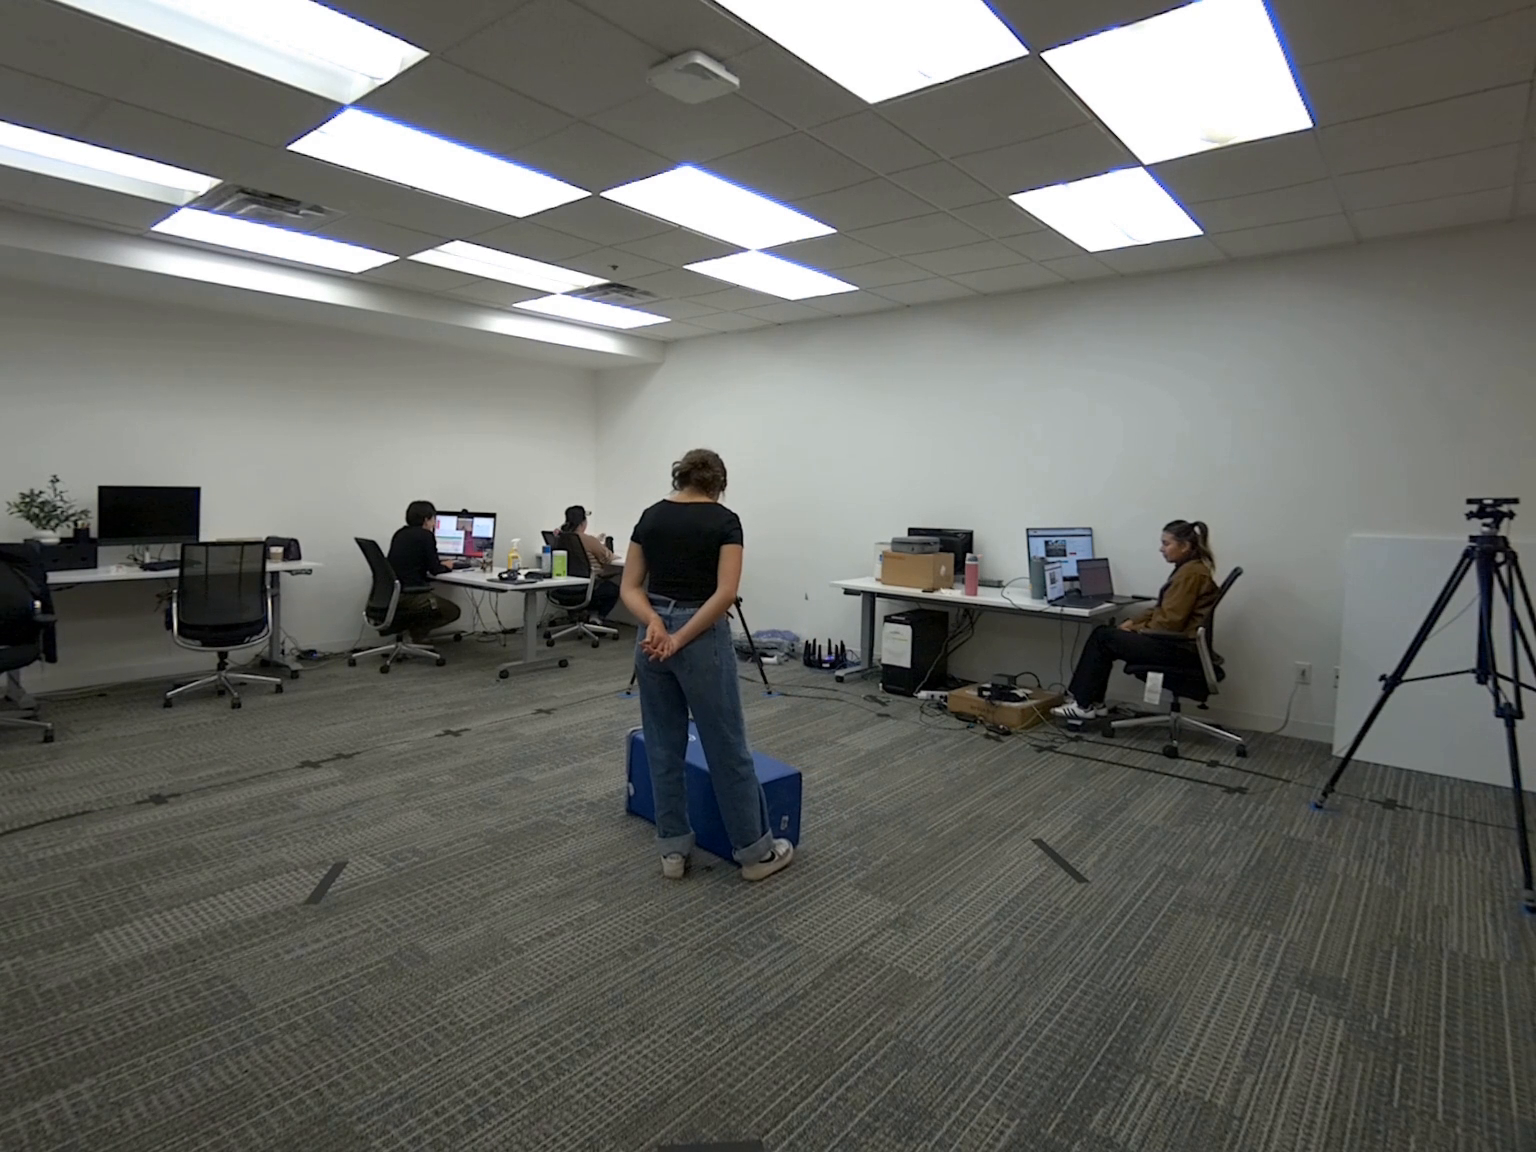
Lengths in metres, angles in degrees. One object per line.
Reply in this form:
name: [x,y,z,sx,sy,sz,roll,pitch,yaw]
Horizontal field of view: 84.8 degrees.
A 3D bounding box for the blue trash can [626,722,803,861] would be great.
blue trash can: [-0.239,0.862,3.457,0.363,0.376,0.739,-3,9,-44]
